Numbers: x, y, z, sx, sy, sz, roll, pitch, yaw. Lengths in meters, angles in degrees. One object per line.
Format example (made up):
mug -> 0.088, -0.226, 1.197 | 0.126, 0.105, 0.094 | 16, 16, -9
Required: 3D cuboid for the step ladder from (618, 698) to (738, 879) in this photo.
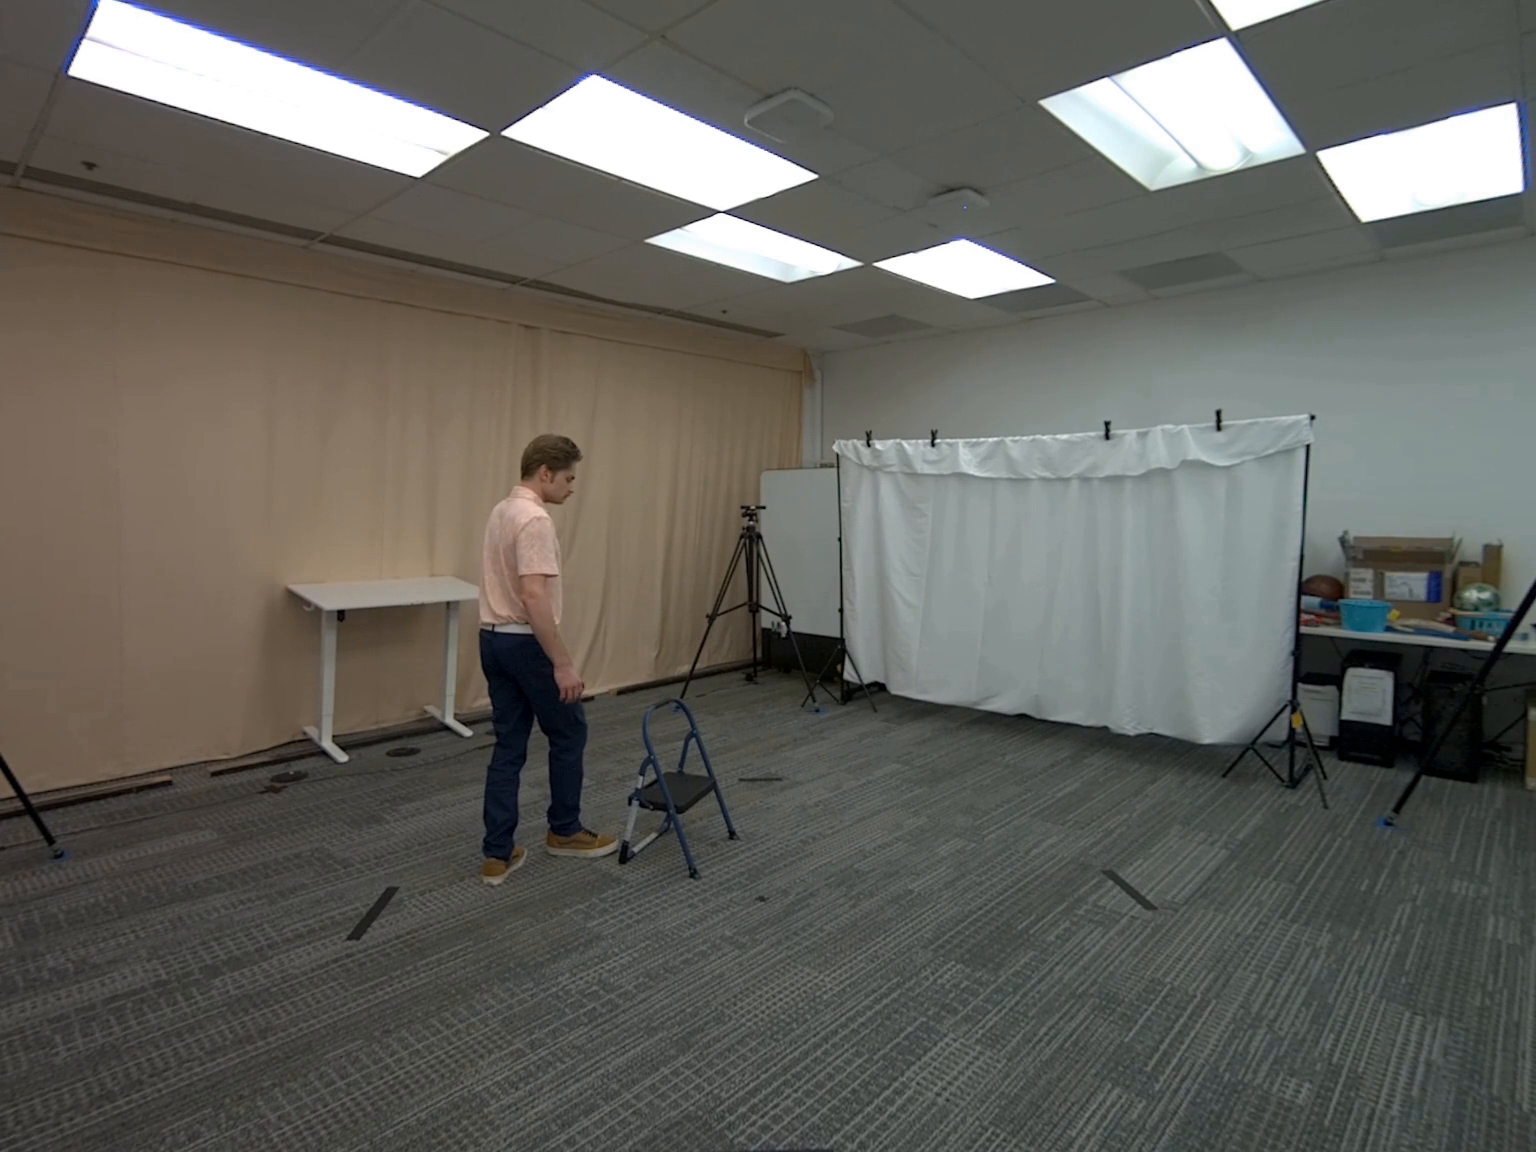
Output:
step ladder -> -0.358, 0.810, 3.390 | 0.357, 0.605, 0.422 | 1, 3, 21
